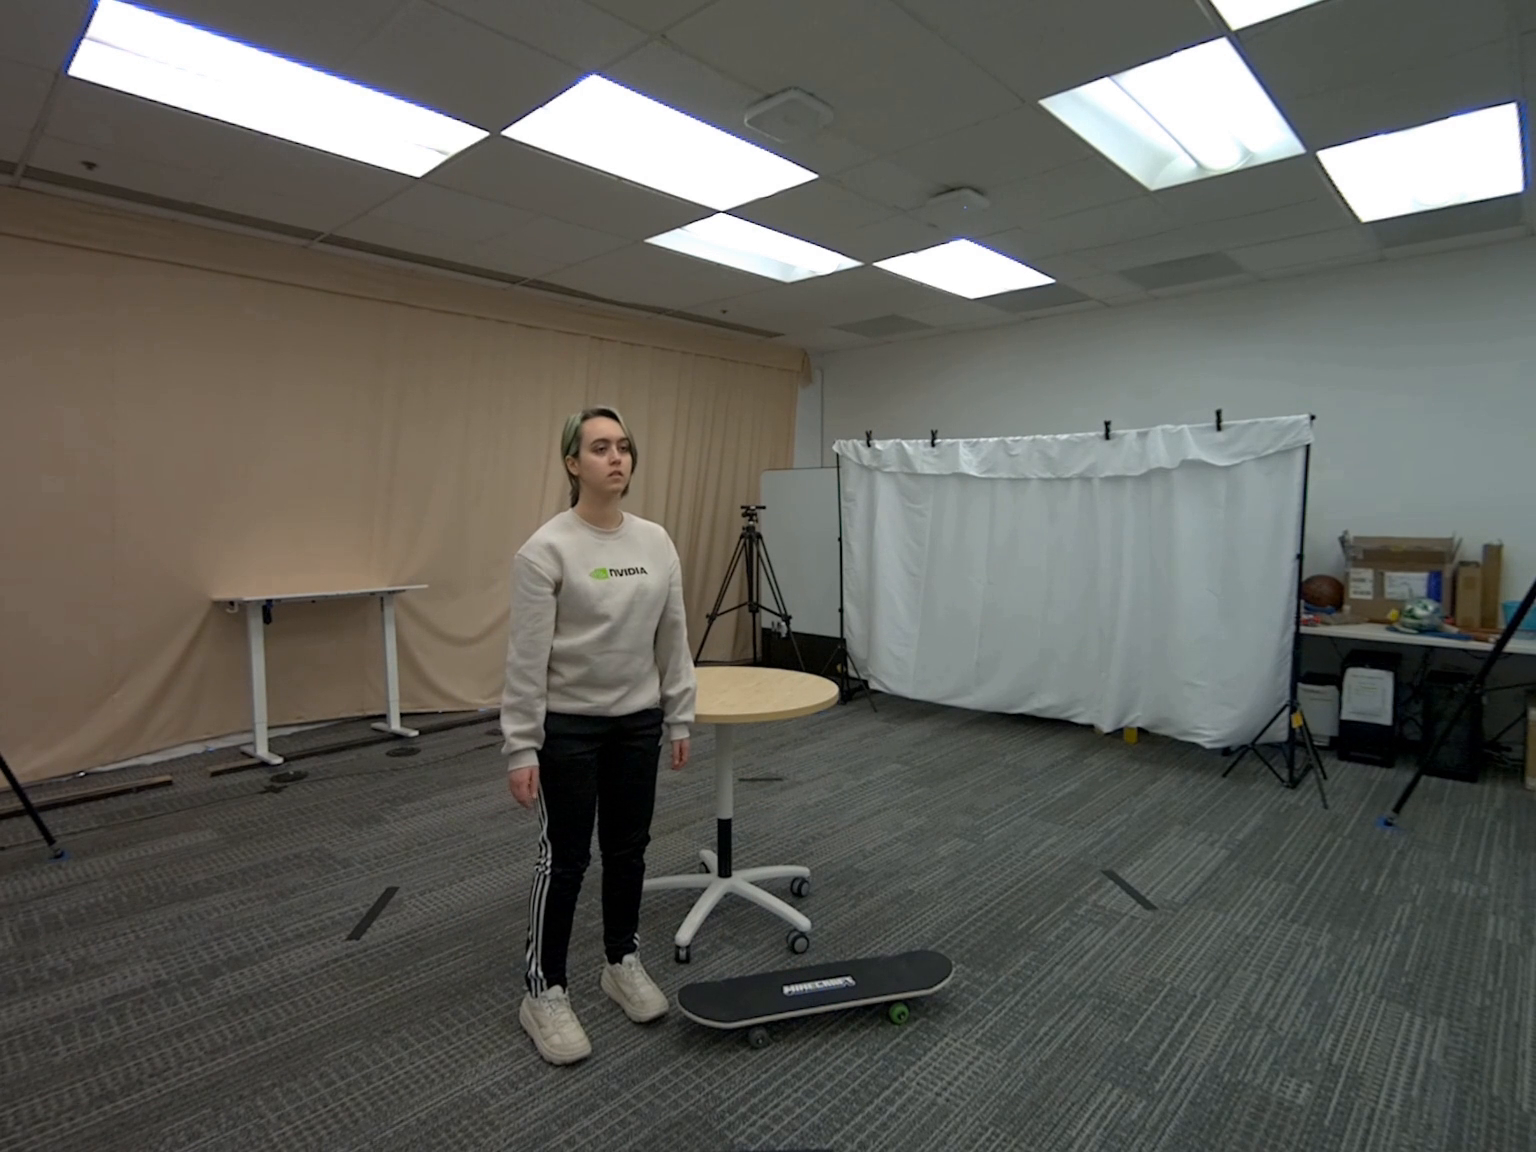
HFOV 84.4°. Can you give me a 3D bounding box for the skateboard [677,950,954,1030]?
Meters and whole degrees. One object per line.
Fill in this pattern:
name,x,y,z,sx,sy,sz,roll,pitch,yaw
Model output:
skateboard,0.140,1.135,2.298,0.773,0.110,0.197,-2,7,-15
